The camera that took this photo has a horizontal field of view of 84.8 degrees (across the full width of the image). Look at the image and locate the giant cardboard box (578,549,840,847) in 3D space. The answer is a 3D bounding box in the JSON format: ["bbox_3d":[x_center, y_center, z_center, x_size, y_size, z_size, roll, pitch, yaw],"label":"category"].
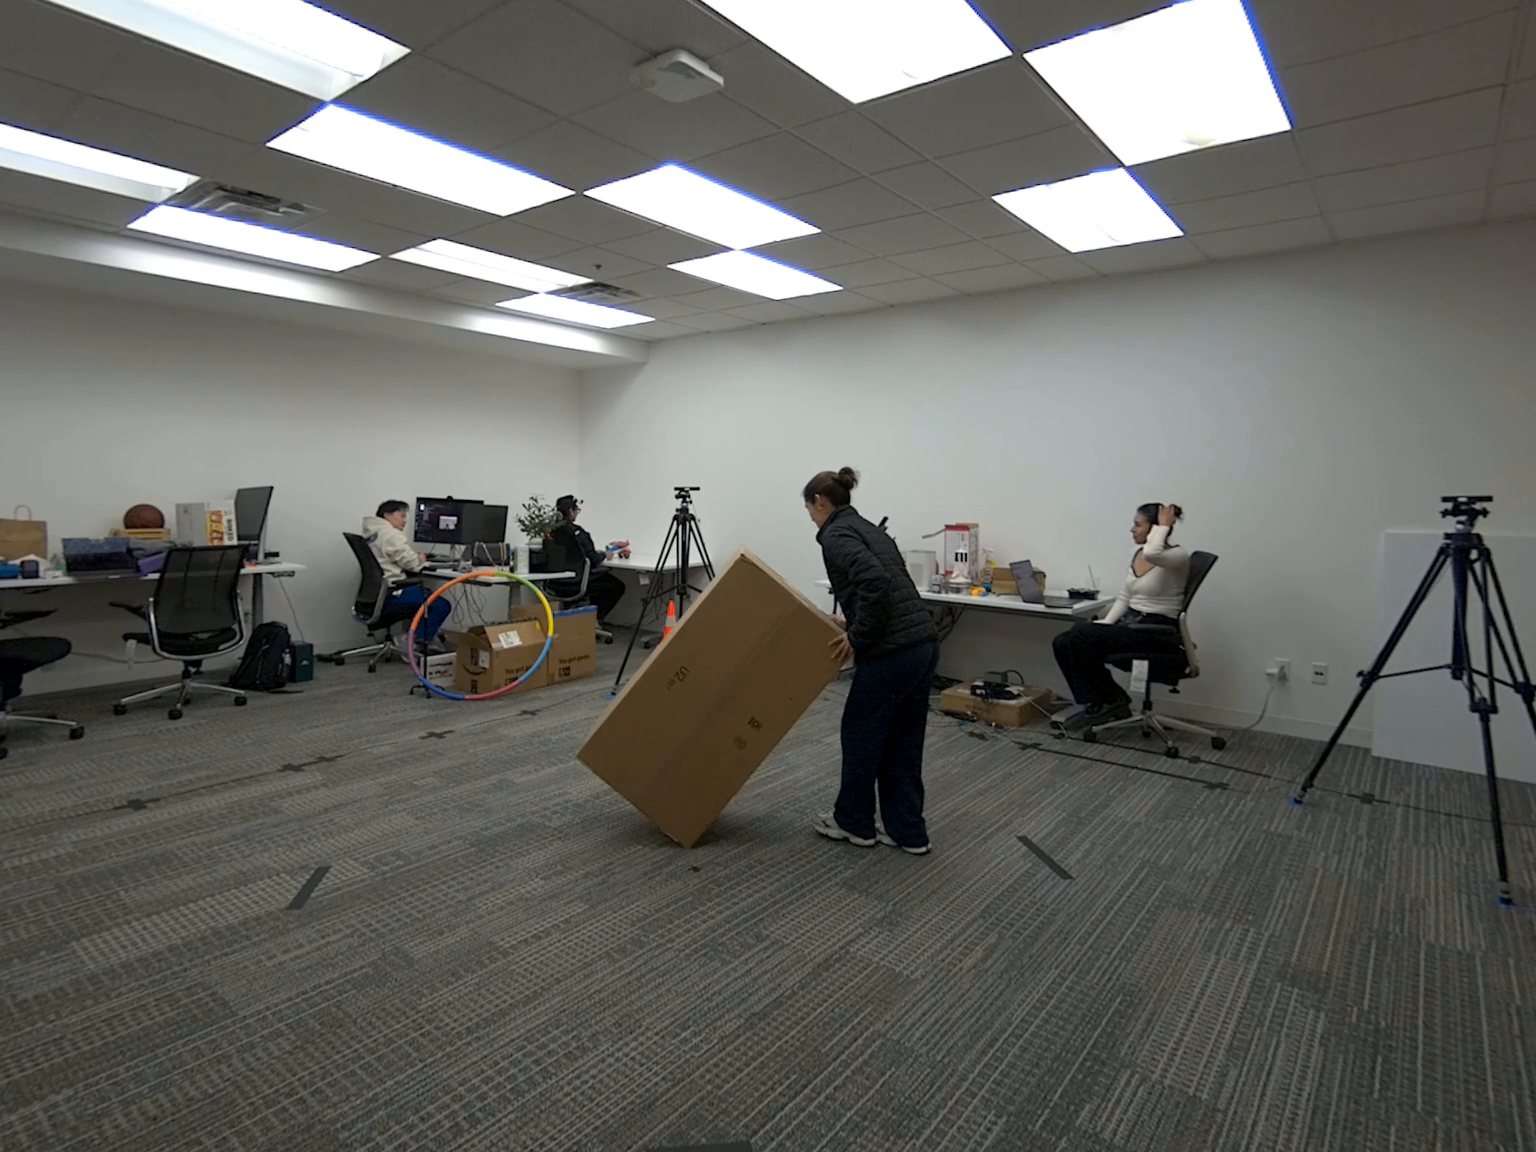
[{"bbox_3d":[-0.196,0.461,3.468,0.584,1.026,0.447,39,4,-1],"label":"giant cardboard box"}]
